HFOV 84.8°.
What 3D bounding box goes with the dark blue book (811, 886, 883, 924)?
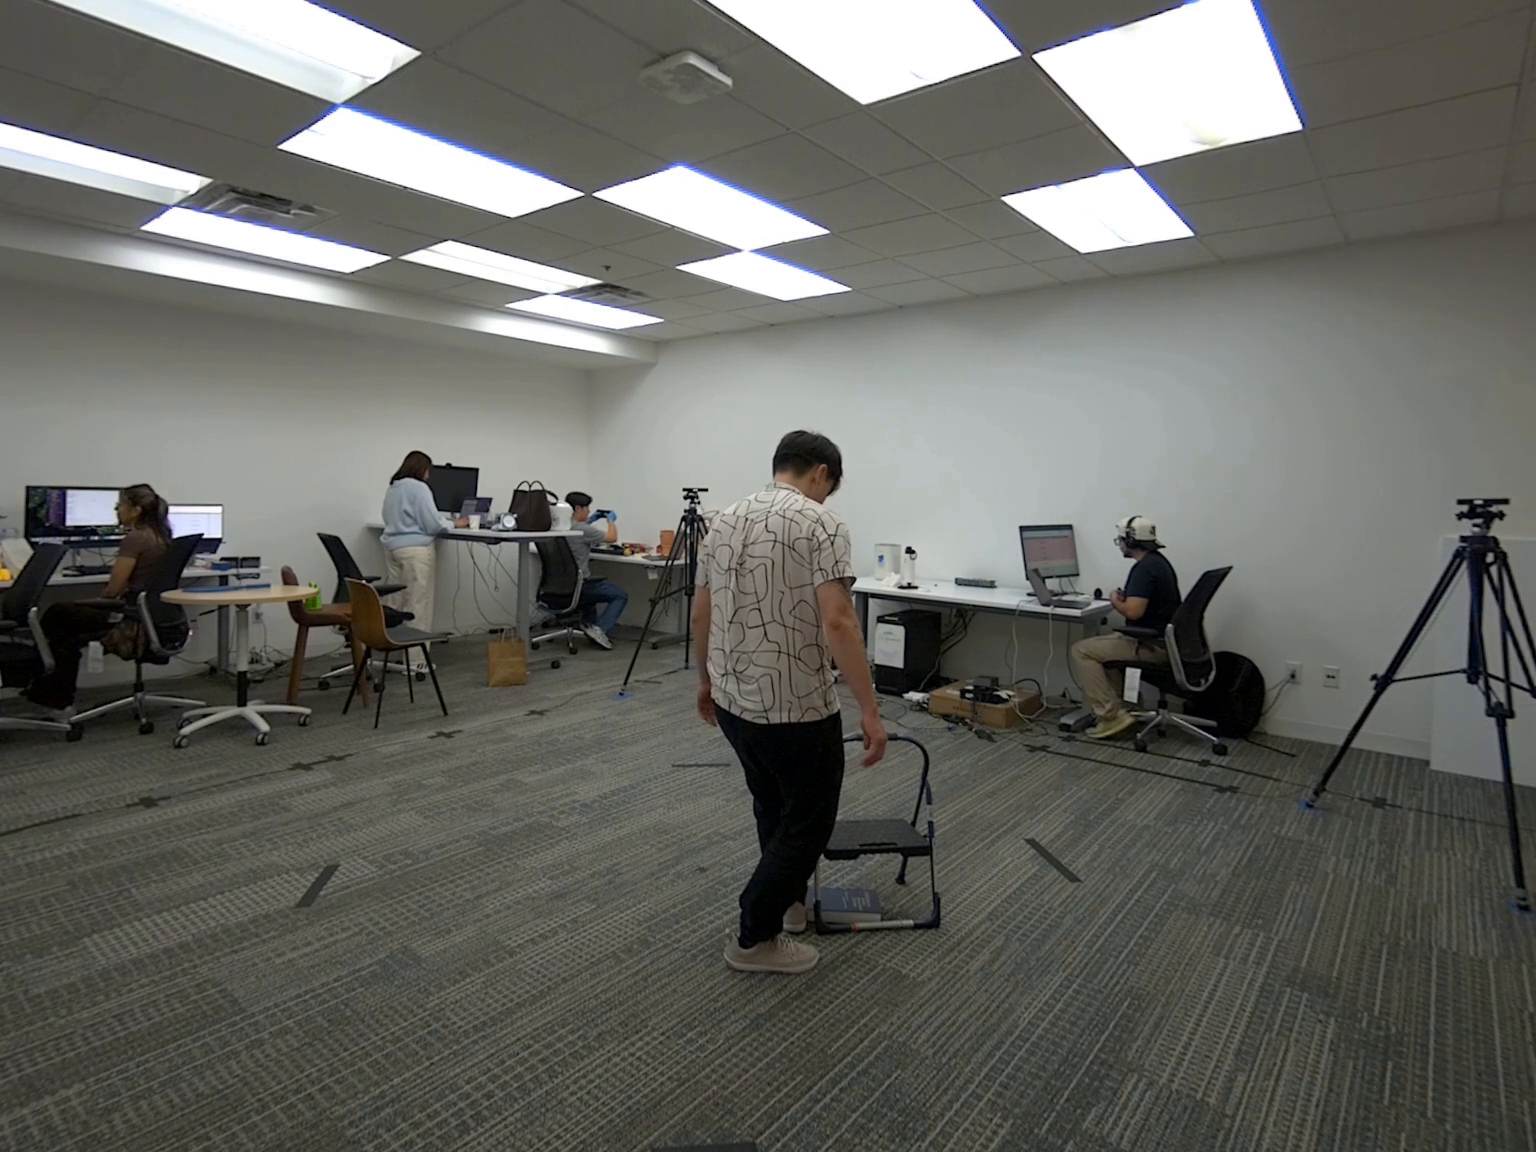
[{"bbox_3d":[0.241,1.099,2.823,0.246,0.045,0.164,2,6,1],"label":"dark blue book"}]
